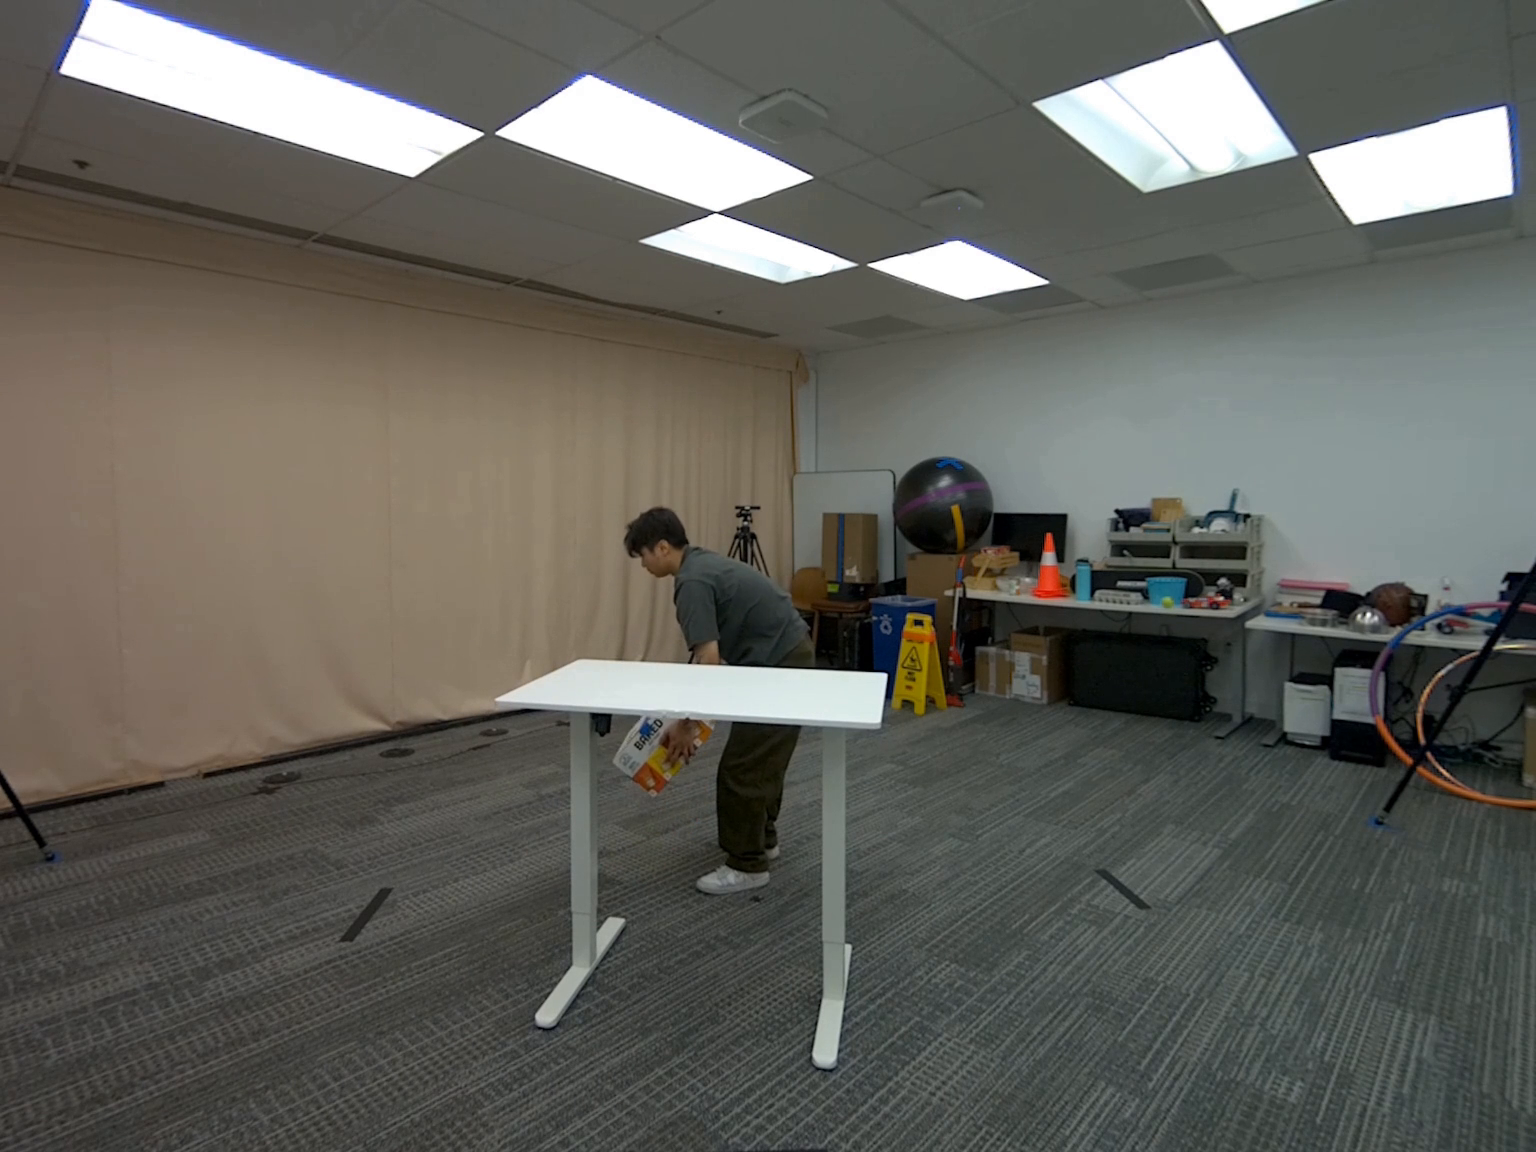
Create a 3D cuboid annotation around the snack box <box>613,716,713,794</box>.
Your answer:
[{"bbox_3d":[-0.379,0.596,3.243,0.205,0.341,0.405,41,6,-3],"label":"snack box"}]
